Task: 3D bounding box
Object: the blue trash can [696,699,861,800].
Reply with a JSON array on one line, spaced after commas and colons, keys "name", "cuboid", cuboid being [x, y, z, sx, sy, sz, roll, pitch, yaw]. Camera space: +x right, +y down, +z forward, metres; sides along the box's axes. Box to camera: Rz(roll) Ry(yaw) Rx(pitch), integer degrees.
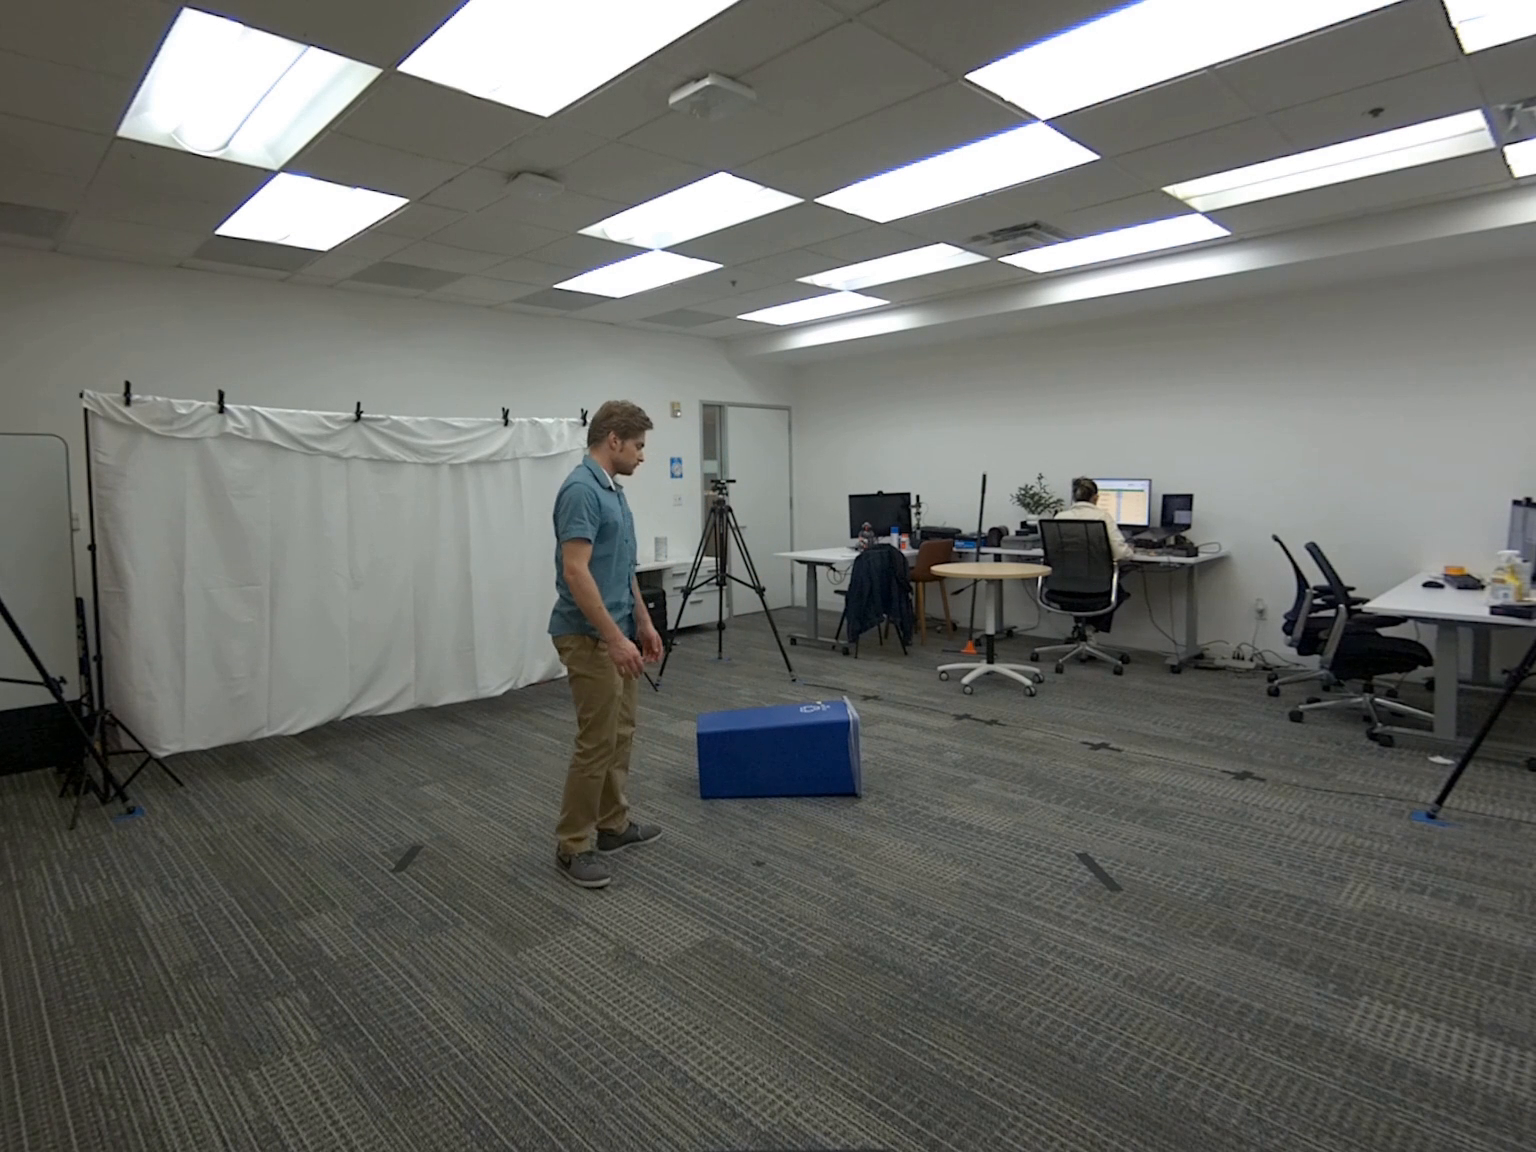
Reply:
[{"name": "blue trash can", "cuboid": [0.041, 0.793, 3.884, 0.712, 0.376, 0.376, -4, 5, -2]}]
